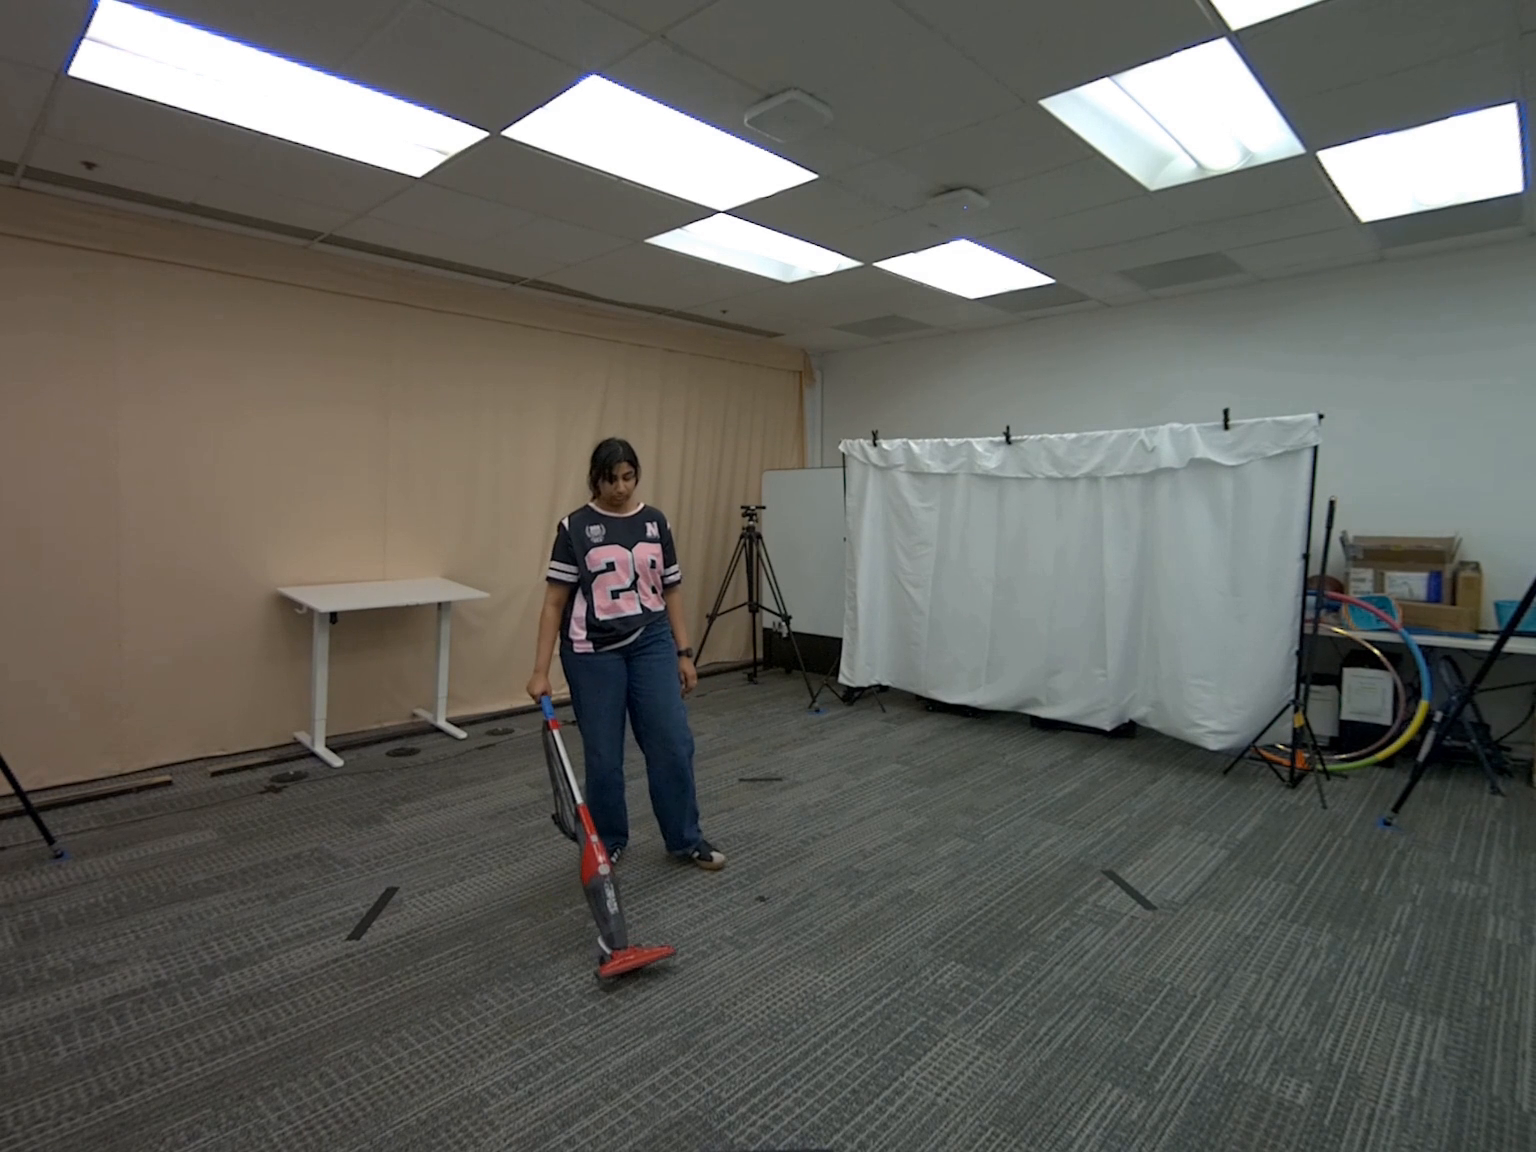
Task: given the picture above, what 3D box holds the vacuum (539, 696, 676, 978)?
[{"bbox_3d":[-0.629,0.782,2.817,0.245,0.144,1.082,0,44,-34],"label":"vacuum"}]
